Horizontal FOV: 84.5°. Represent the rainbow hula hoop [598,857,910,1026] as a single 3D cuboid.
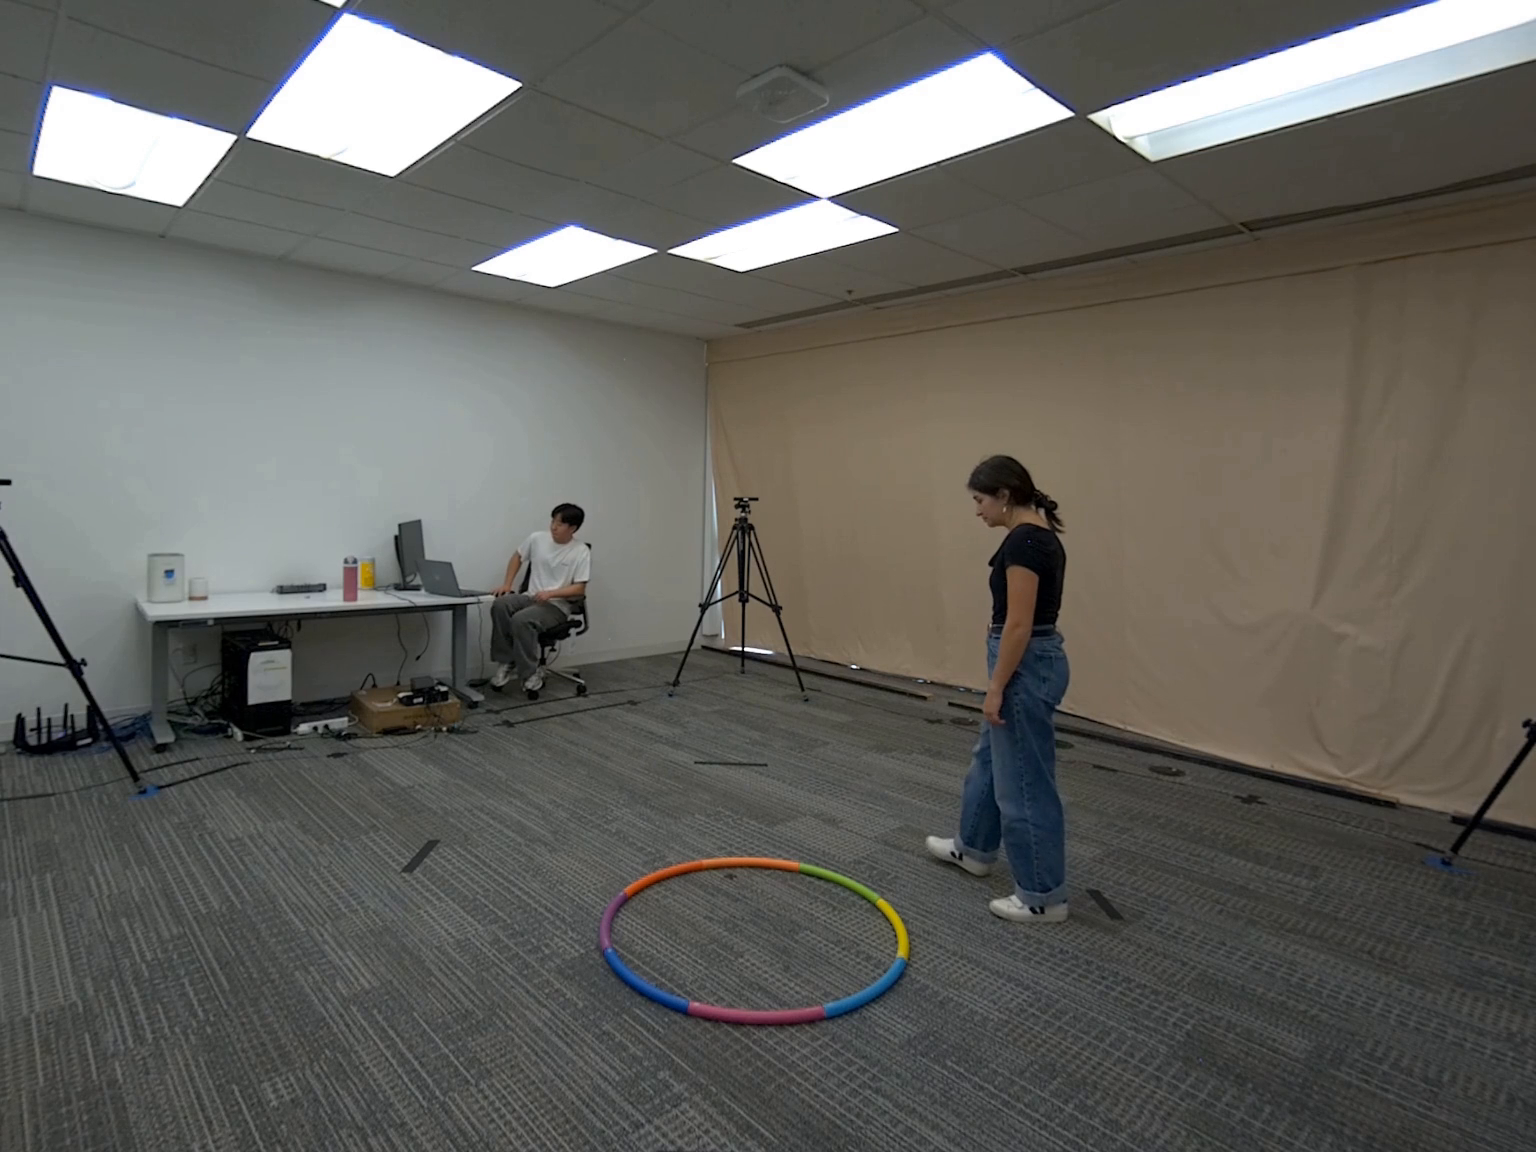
[{"bbox_3d":[-0.055,1.118,2.709,0.978,0.035,0.982,1,5,-1],"label":"rainbow hula hoop"}]
